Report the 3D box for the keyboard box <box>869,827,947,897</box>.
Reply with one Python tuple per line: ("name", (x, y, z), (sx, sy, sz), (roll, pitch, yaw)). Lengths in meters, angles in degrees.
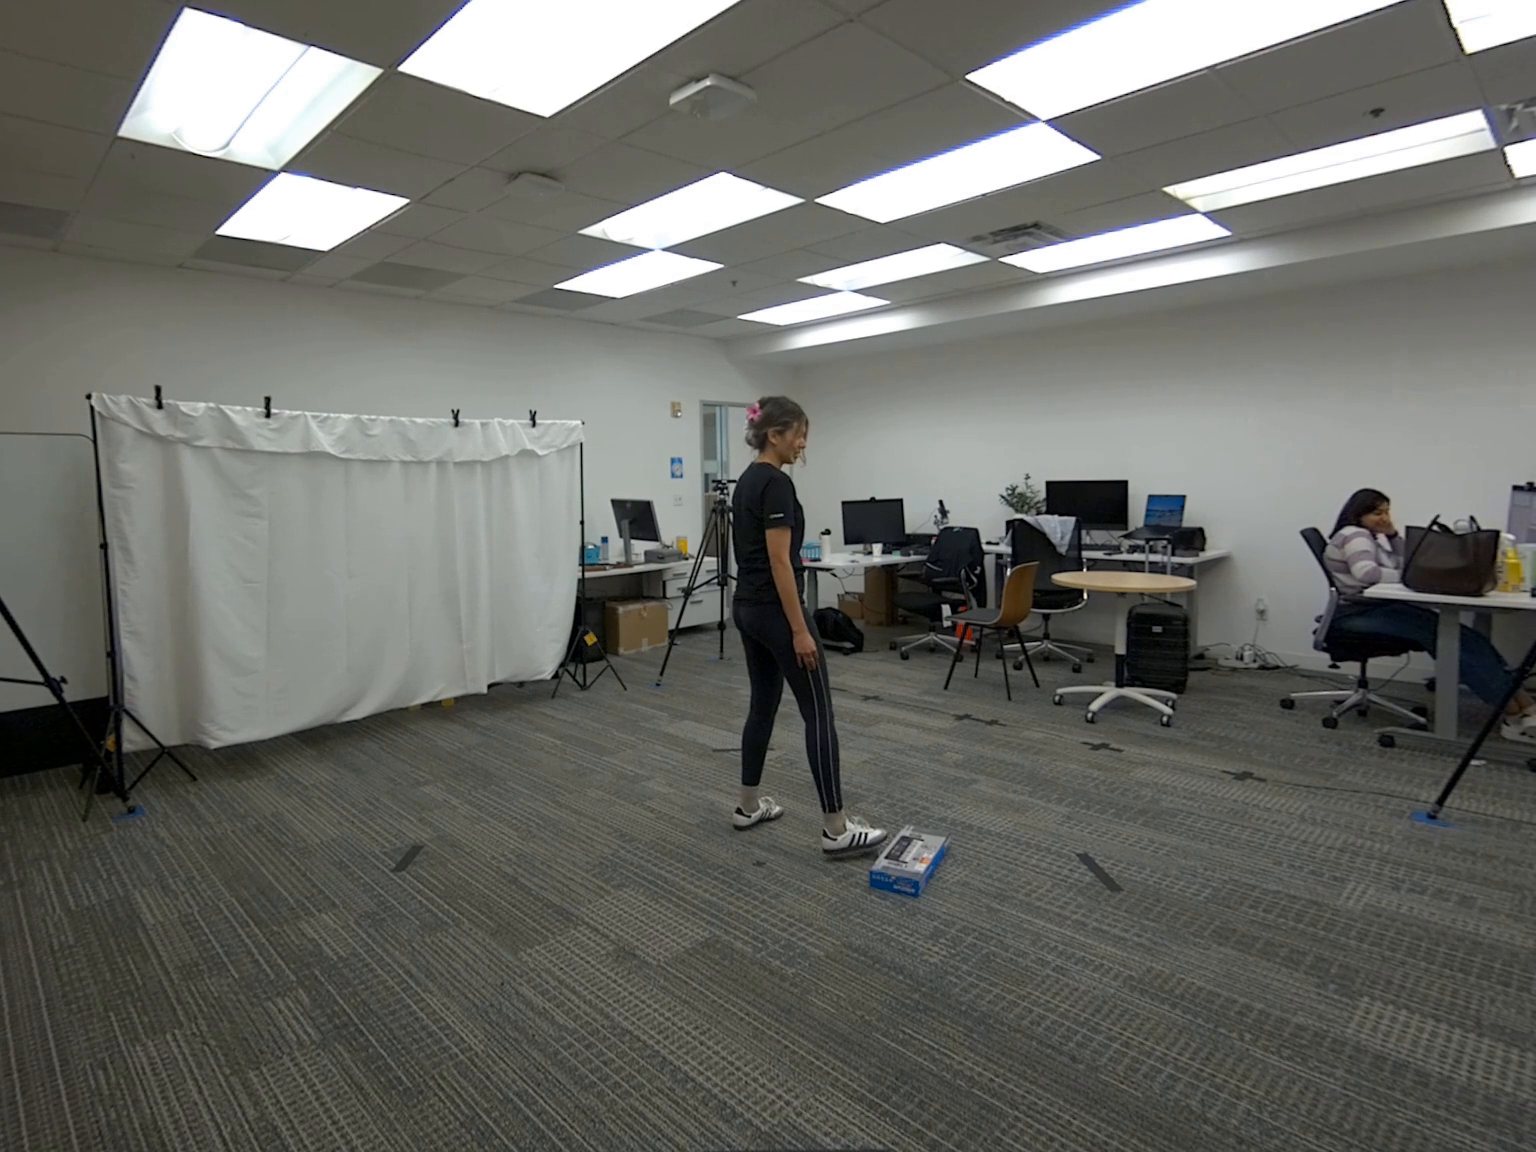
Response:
("keyboard box", (0.521, 1.013, 3.063), (0.180, 0.059, 0.428), (3, 7, 26))
